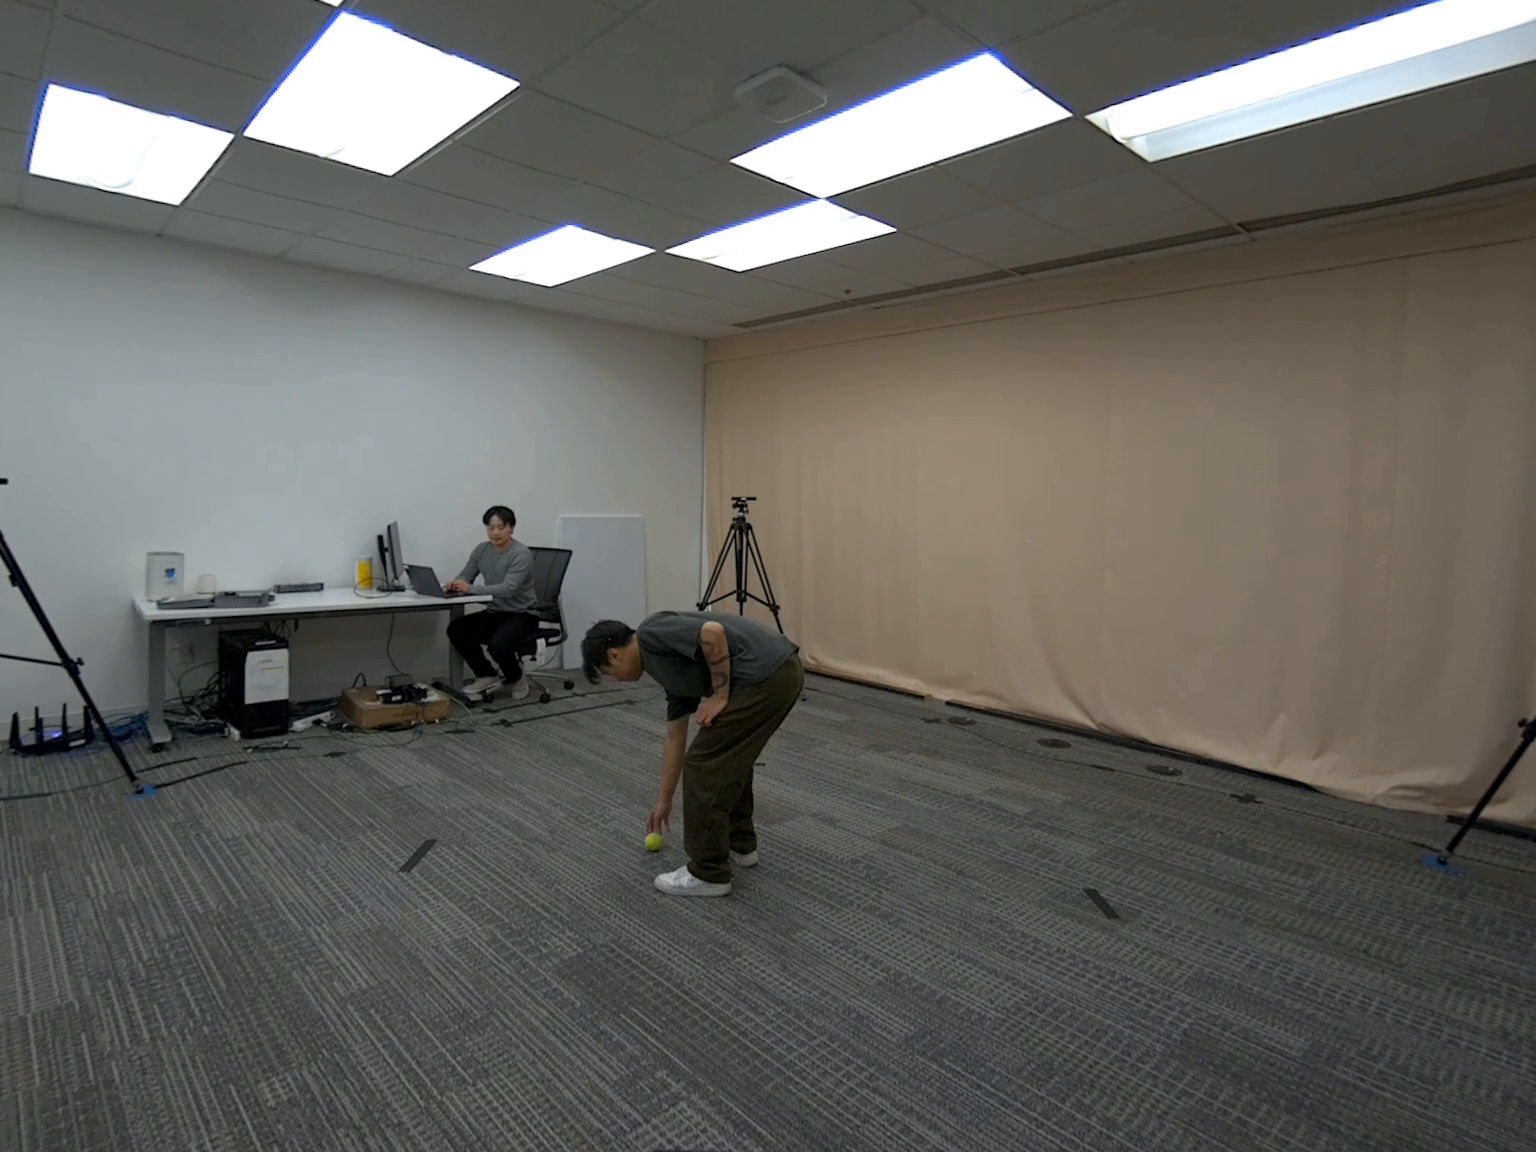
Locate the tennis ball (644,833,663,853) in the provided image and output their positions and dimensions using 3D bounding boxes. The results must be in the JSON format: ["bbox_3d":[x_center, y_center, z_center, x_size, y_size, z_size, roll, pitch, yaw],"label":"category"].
[{"bbox_3d":[-0.457,1.030,3.319,0.066,0.066,0.067,1,4,-1],"label":"tennis ball"}]
